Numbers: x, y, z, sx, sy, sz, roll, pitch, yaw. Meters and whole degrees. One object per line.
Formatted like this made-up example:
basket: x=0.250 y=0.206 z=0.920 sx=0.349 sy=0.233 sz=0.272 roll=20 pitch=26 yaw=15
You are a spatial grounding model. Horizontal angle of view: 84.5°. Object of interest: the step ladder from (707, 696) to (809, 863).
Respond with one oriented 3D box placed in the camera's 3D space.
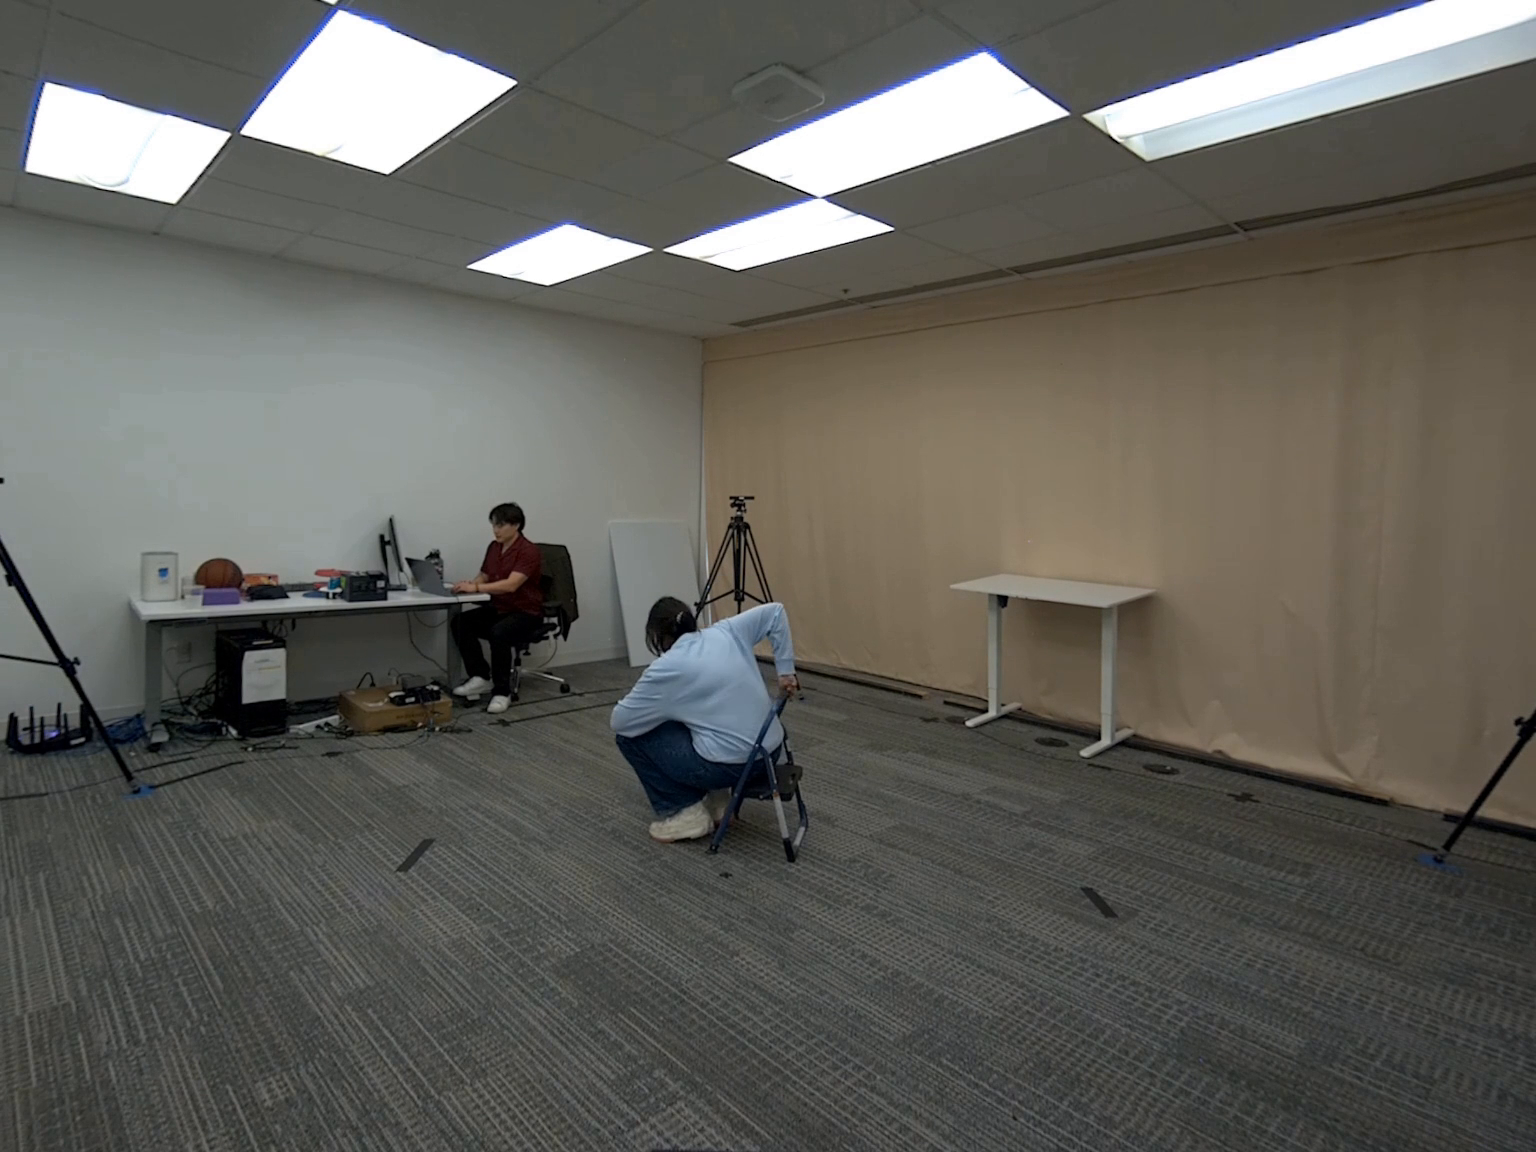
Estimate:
step ladder: x=-0.027 y=0.777 z=3.436 sx=0.352 sy=0.604 sz=0.428 roll=2 pitch=5 yaw=10
